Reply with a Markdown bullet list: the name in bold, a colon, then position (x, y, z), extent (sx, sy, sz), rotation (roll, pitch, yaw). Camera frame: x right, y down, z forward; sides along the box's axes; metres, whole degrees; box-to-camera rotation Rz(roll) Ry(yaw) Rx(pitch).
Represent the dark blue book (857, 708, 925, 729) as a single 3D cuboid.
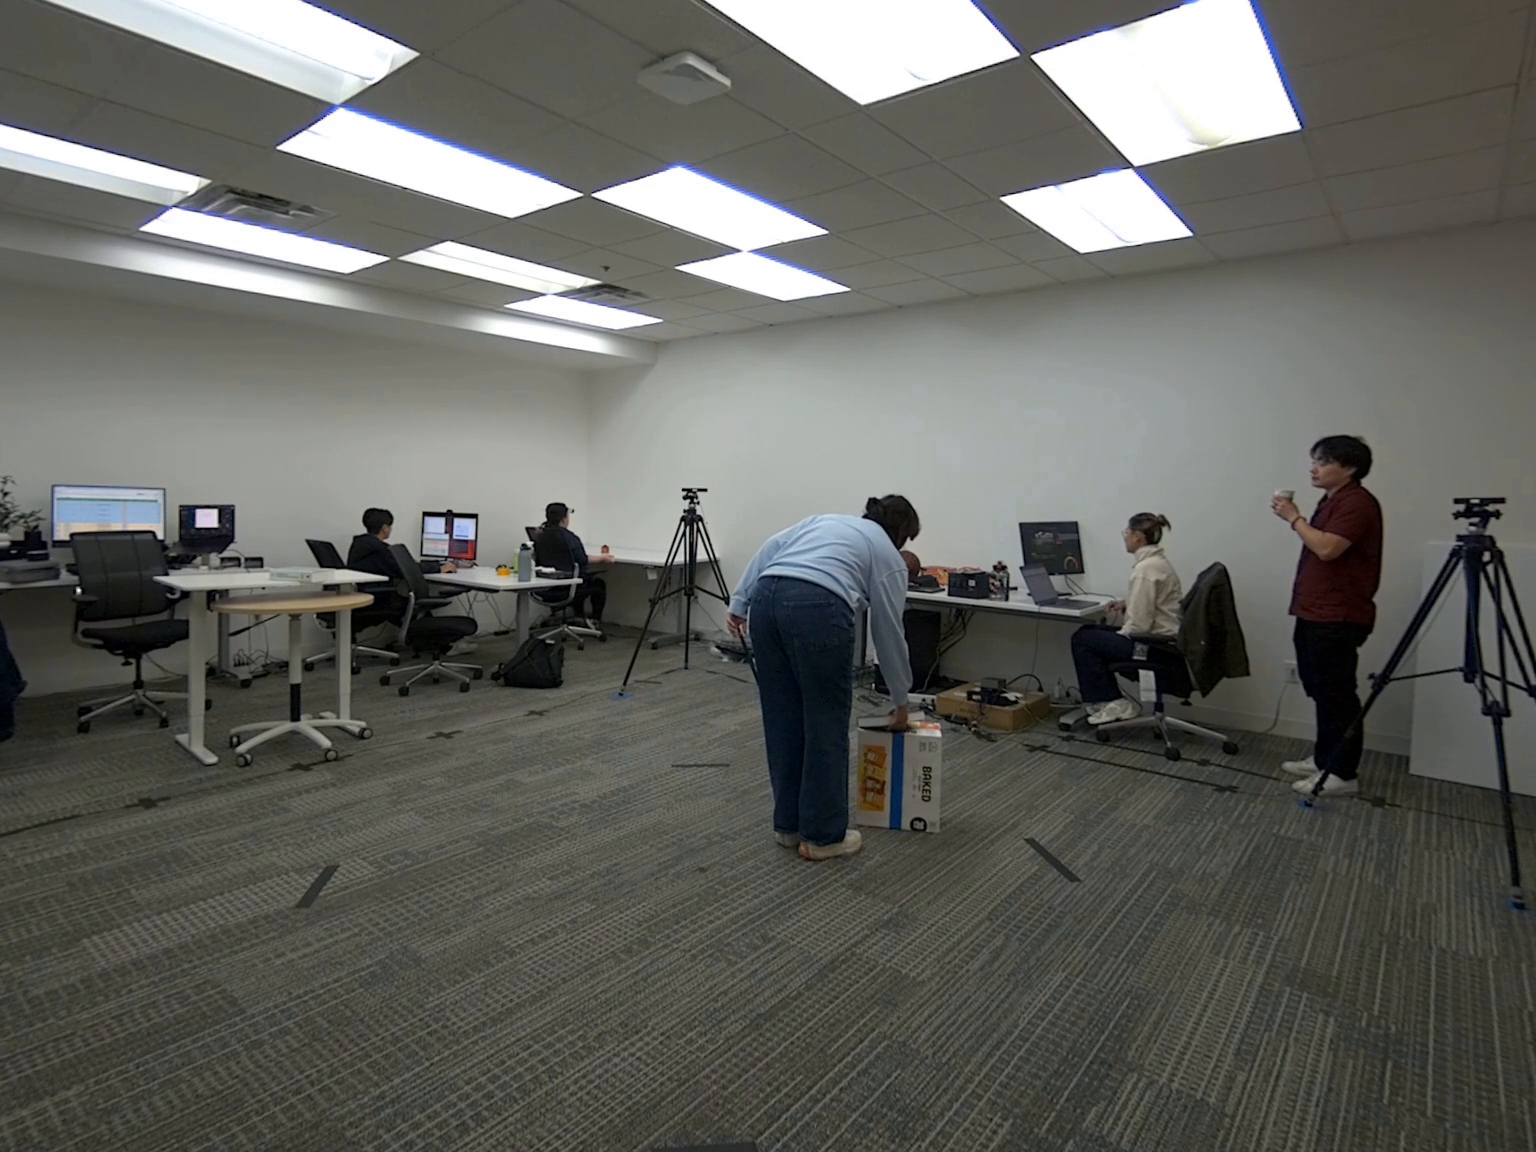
- **dark blue book**: position (0.517, 0.597, 3.594), extent (0.238, 0.045, 0.167), rotation (-4, -5, -36)
